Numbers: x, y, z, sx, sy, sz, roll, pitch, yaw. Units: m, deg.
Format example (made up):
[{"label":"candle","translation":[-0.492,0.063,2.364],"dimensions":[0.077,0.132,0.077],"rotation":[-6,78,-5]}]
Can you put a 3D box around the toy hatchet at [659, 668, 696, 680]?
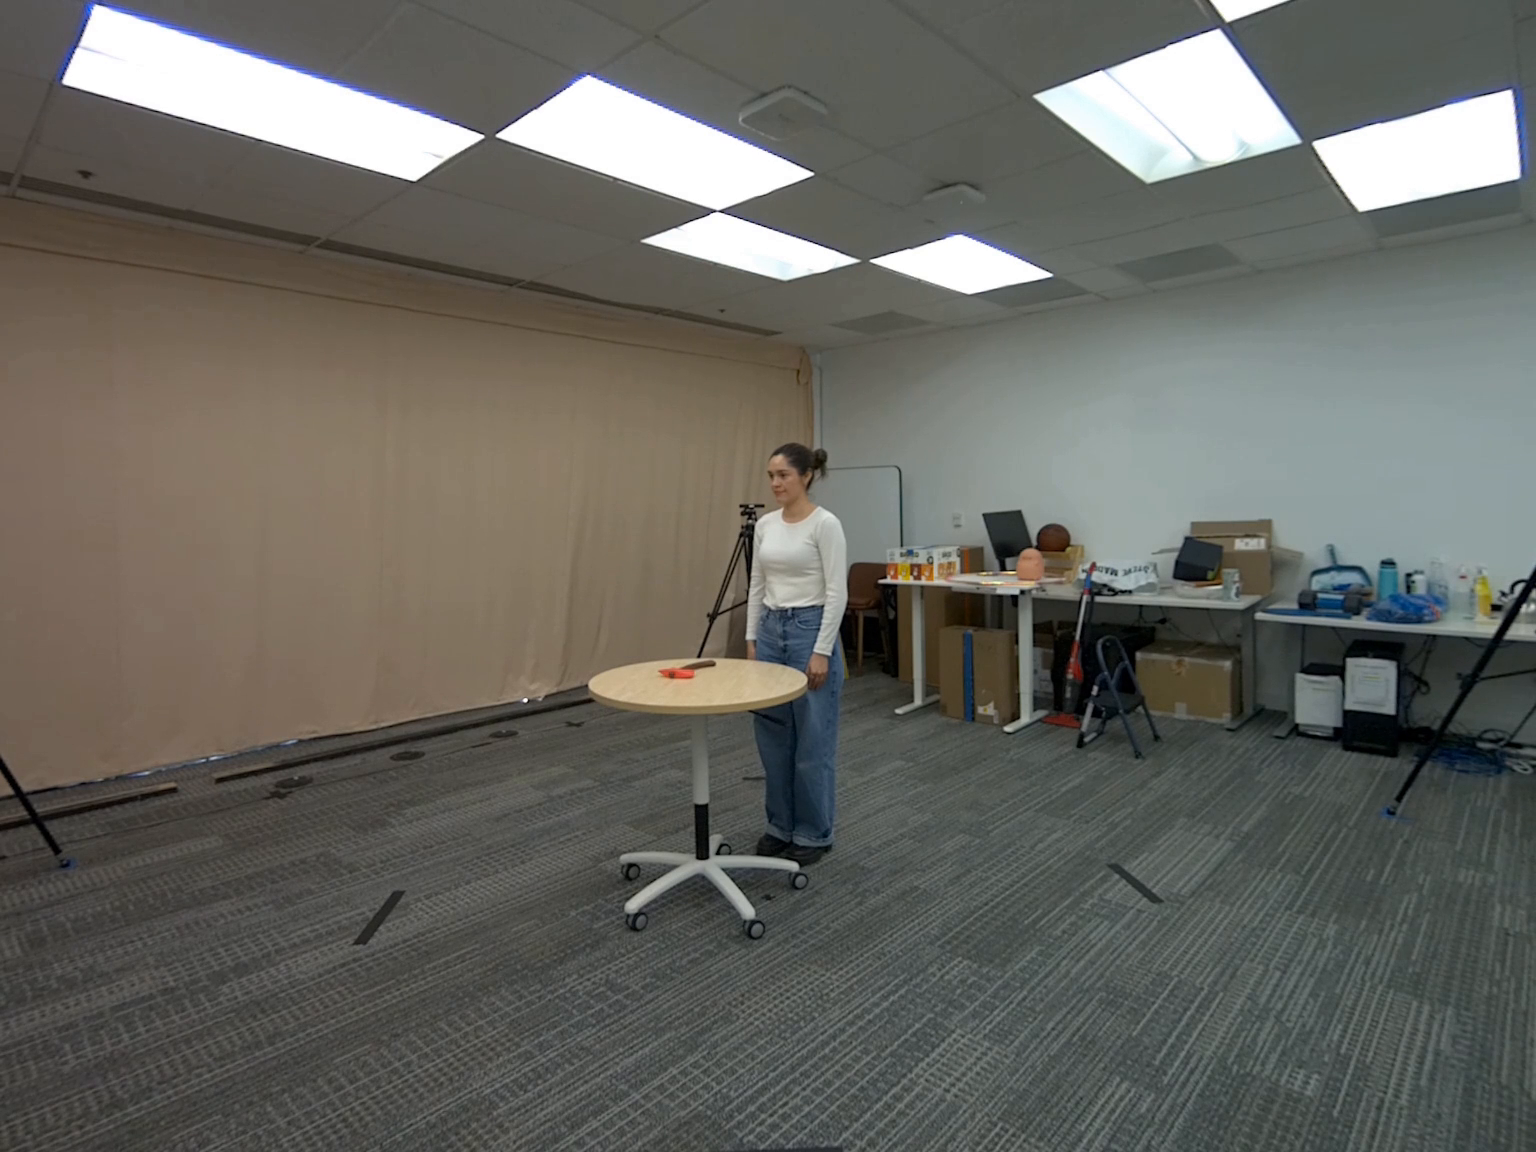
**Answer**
[{"label":"toy hatchet","translation":[-0.265,0.340,3.074],"dimensions":[0.135,0.029,0.262],"rotation":[6,8,41]}]
